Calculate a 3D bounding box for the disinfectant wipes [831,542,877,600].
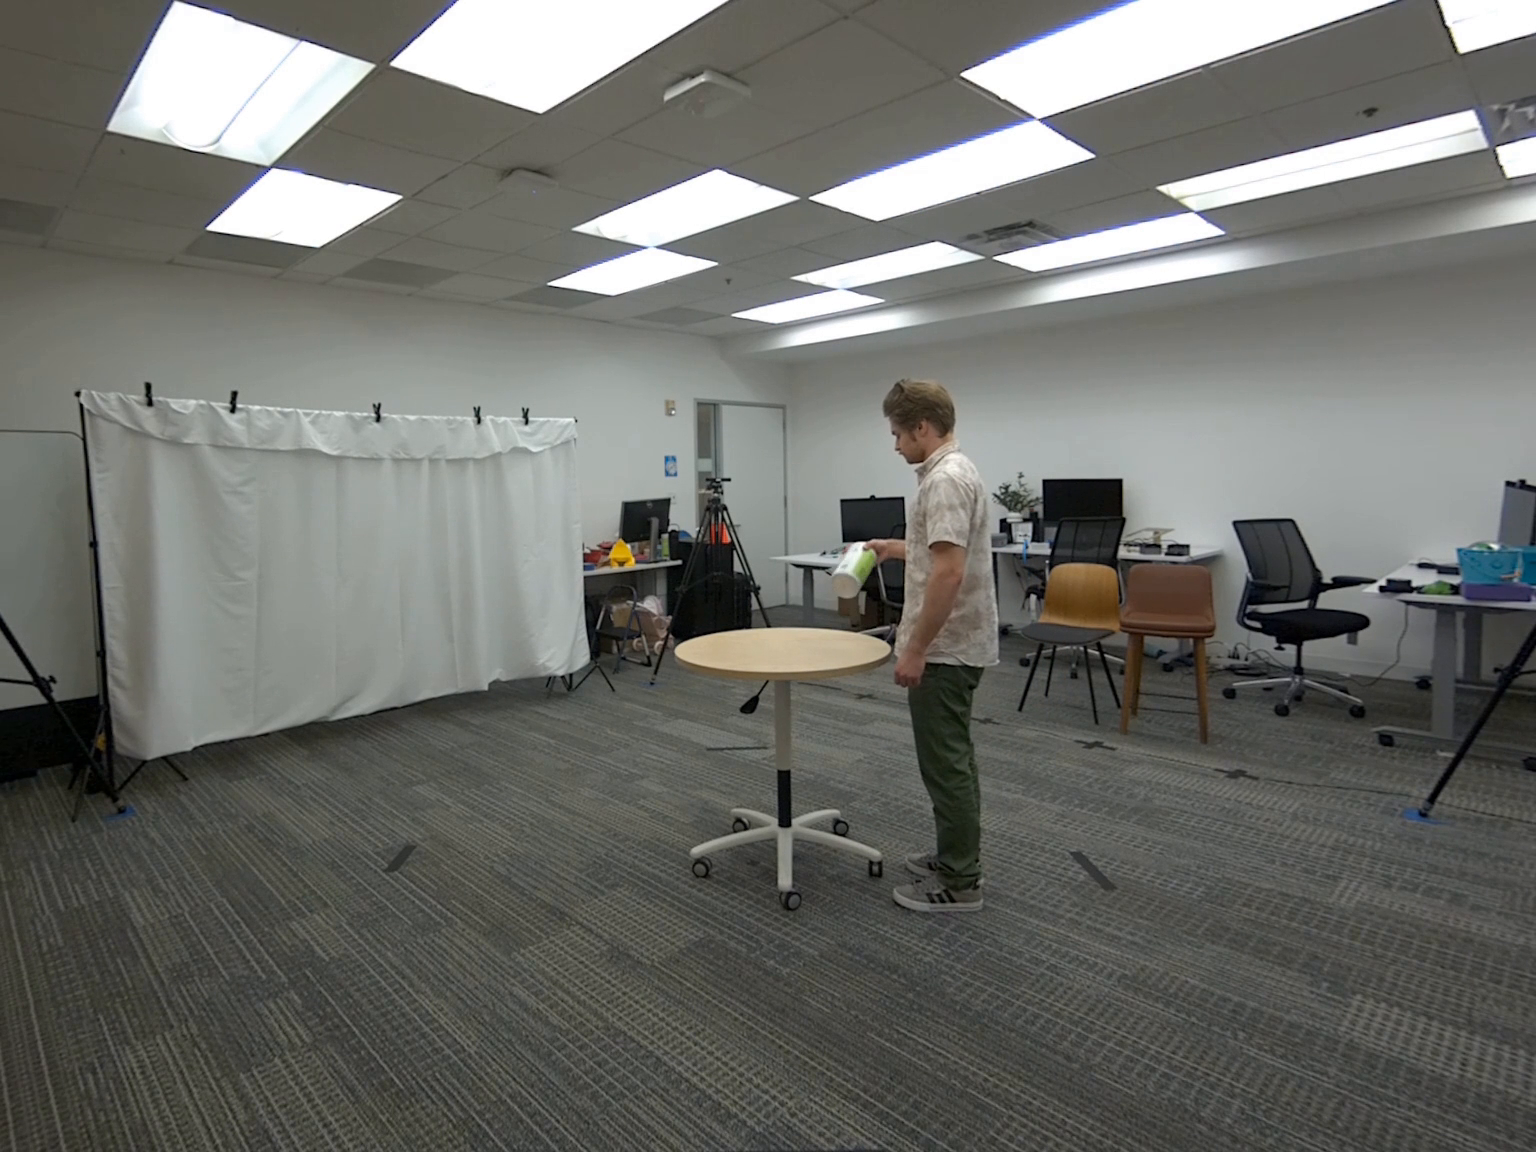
[{"bbox_3d":[0.309,-0.024,3.030,0.120,0.114,0.218,1,34,27],"label":"disinfectant wipes"}]
